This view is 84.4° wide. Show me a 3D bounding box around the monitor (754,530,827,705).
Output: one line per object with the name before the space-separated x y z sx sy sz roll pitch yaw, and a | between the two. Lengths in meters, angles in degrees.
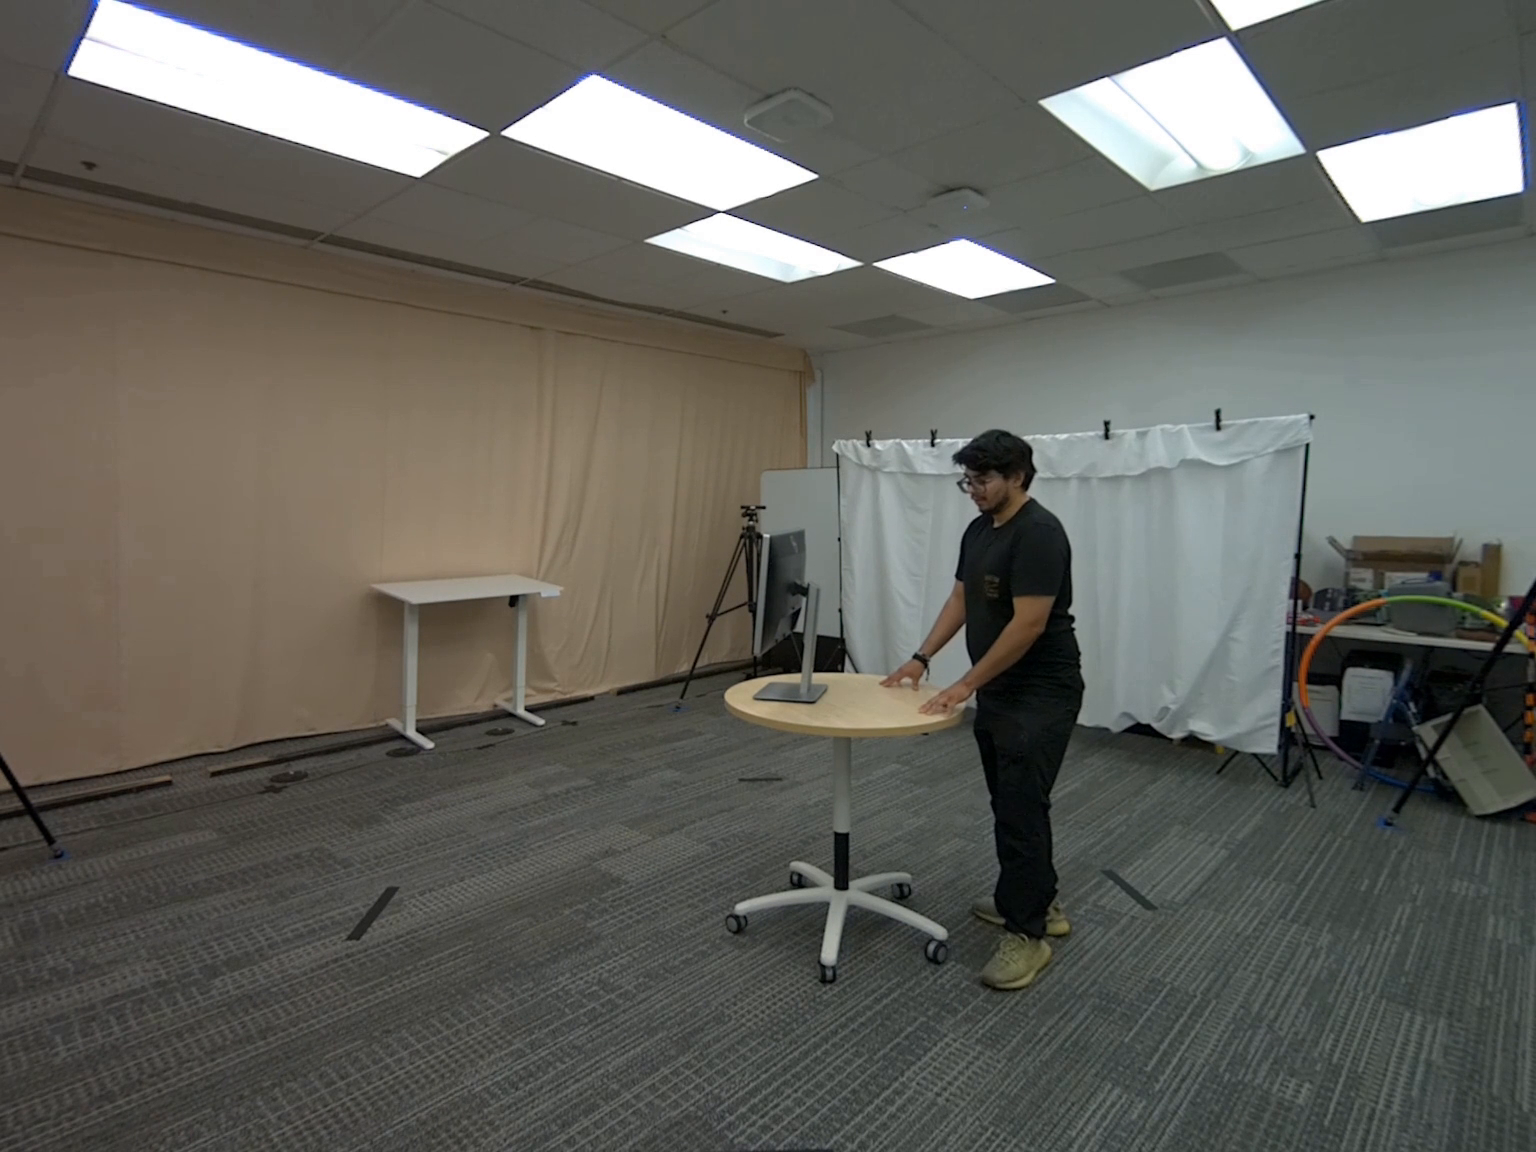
monitor | 0.107 0.132 2.737 0.213 0.552 0.558 4 5 13
